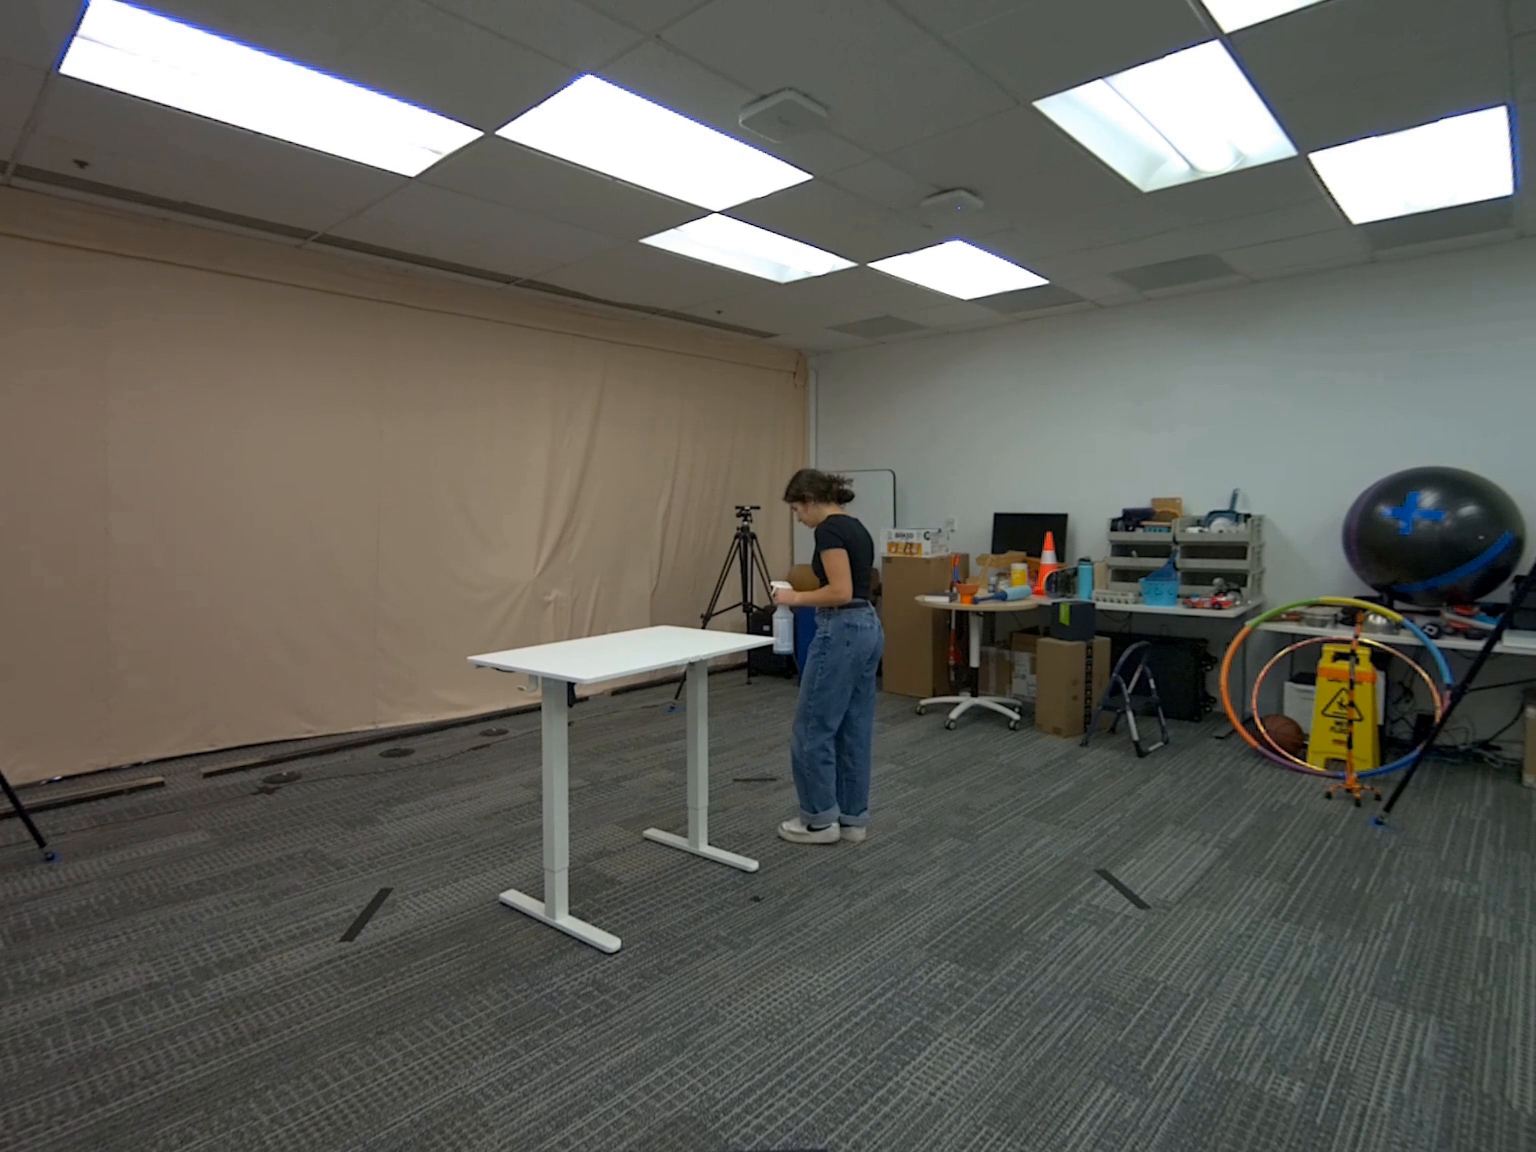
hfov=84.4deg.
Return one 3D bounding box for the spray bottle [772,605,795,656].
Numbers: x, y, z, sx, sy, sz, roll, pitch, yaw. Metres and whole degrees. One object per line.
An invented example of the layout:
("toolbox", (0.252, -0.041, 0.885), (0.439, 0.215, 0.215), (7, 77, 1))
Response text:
("spray bottle", (0.072, 0.178, 3.506), (0.092, 0.297, 0.085), (-1, 0, 18))
